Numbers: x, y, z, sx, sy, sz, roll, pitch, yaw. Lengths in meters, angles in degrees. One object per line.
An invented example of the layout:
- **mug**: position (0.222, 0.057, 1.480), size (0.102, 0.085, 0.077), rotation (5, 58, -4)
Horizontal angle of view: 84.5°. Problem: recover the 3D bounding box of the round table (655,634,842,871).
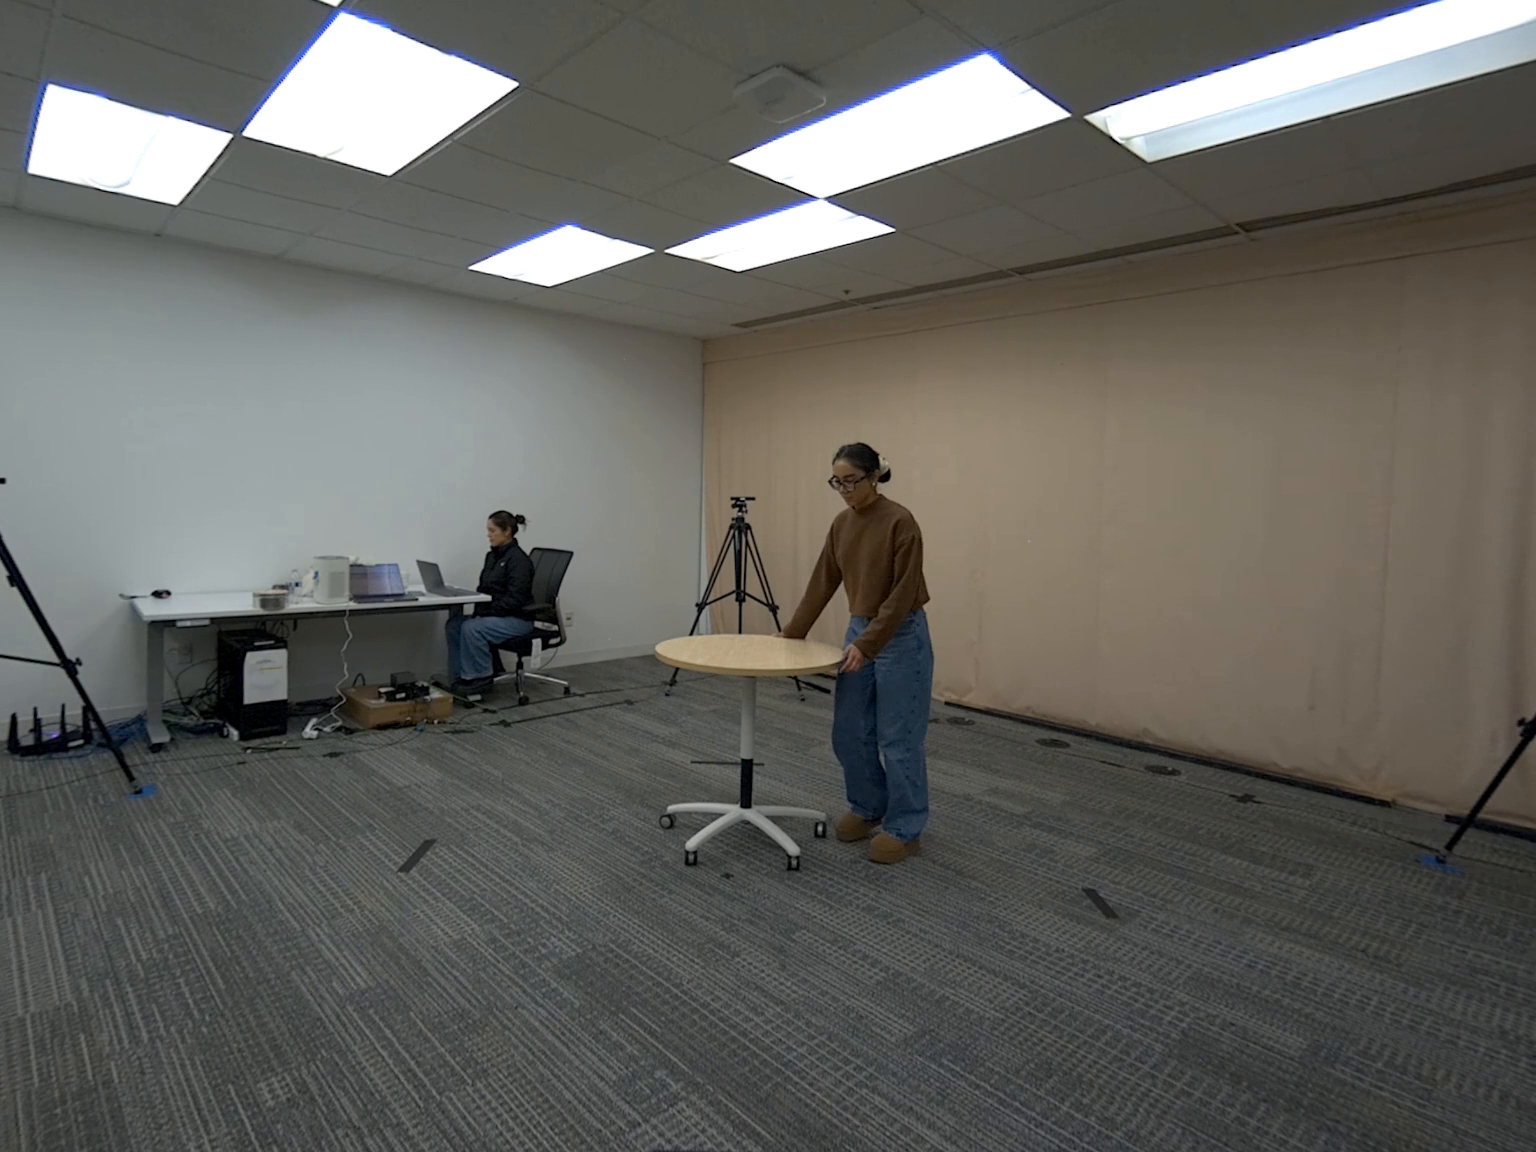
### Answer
- **round table**: position (-0.089, 0.690, 3.404), size (0.763, 0.792, 0.766), rotation (2, 4, -1)
